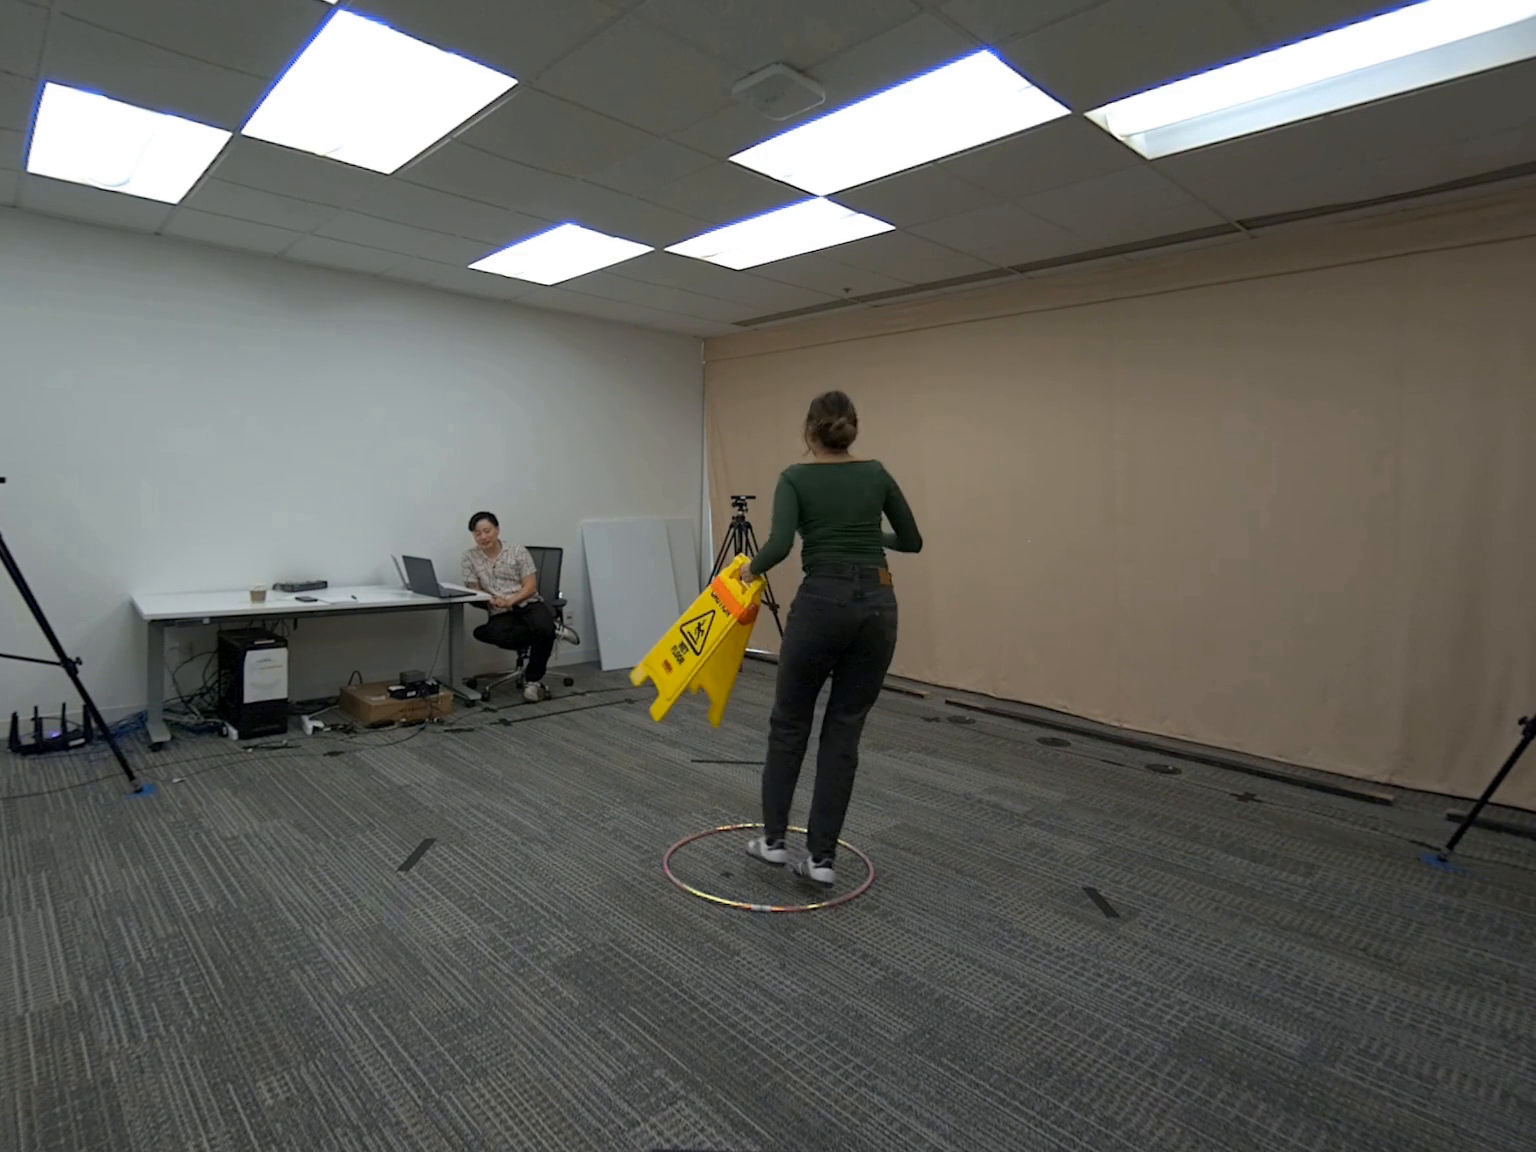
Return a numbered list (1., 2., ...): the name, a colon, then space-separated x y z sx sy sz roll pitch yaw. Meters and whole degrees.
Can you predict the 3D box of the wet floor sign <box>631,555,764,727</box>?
1. wet floor sign: -0.169 0.221 3.189 0.281 0.643 0.291 16 23 -39
